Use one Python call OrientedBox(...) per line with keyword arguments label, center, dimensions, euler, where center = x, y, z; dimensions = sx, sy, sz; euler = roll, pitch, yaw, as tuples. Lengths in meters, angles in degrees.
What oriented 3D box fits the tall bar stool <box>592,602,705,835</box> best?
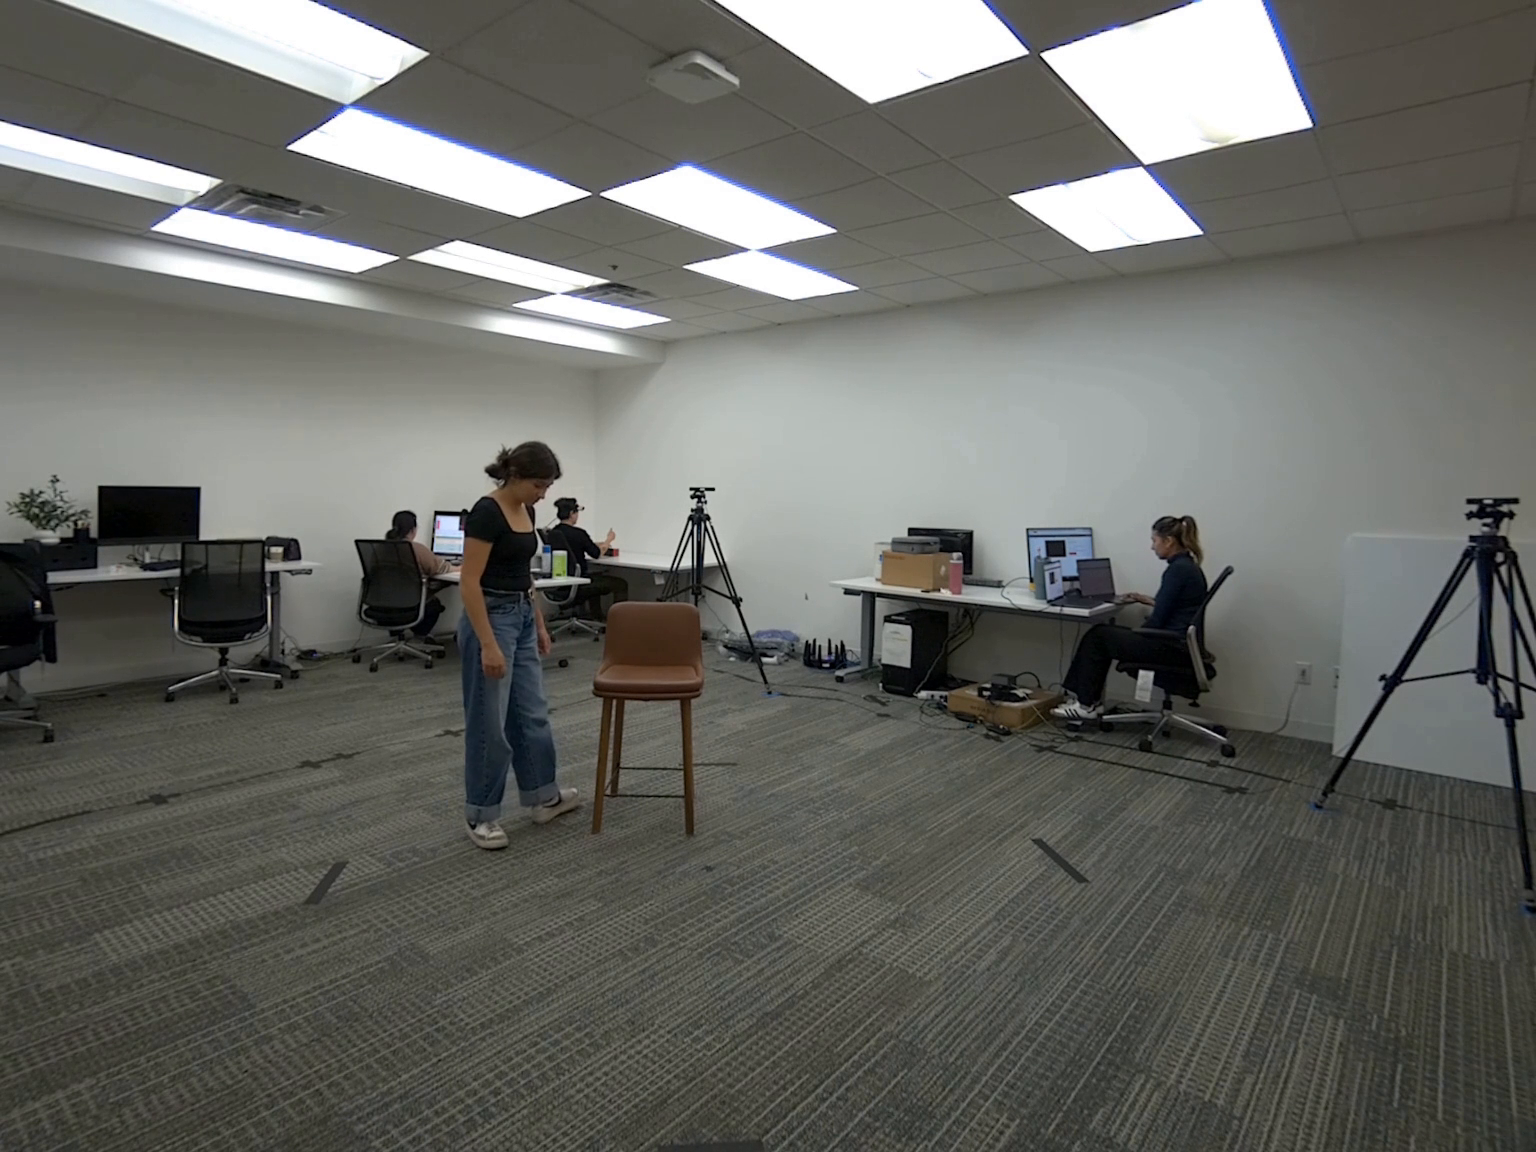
OrientedBox(label="tall bar stool", center=(-0.515, 0.581, 3.606), dimensions=(0.456, 0.888, 0.469), euler=(1, 2, -2))
